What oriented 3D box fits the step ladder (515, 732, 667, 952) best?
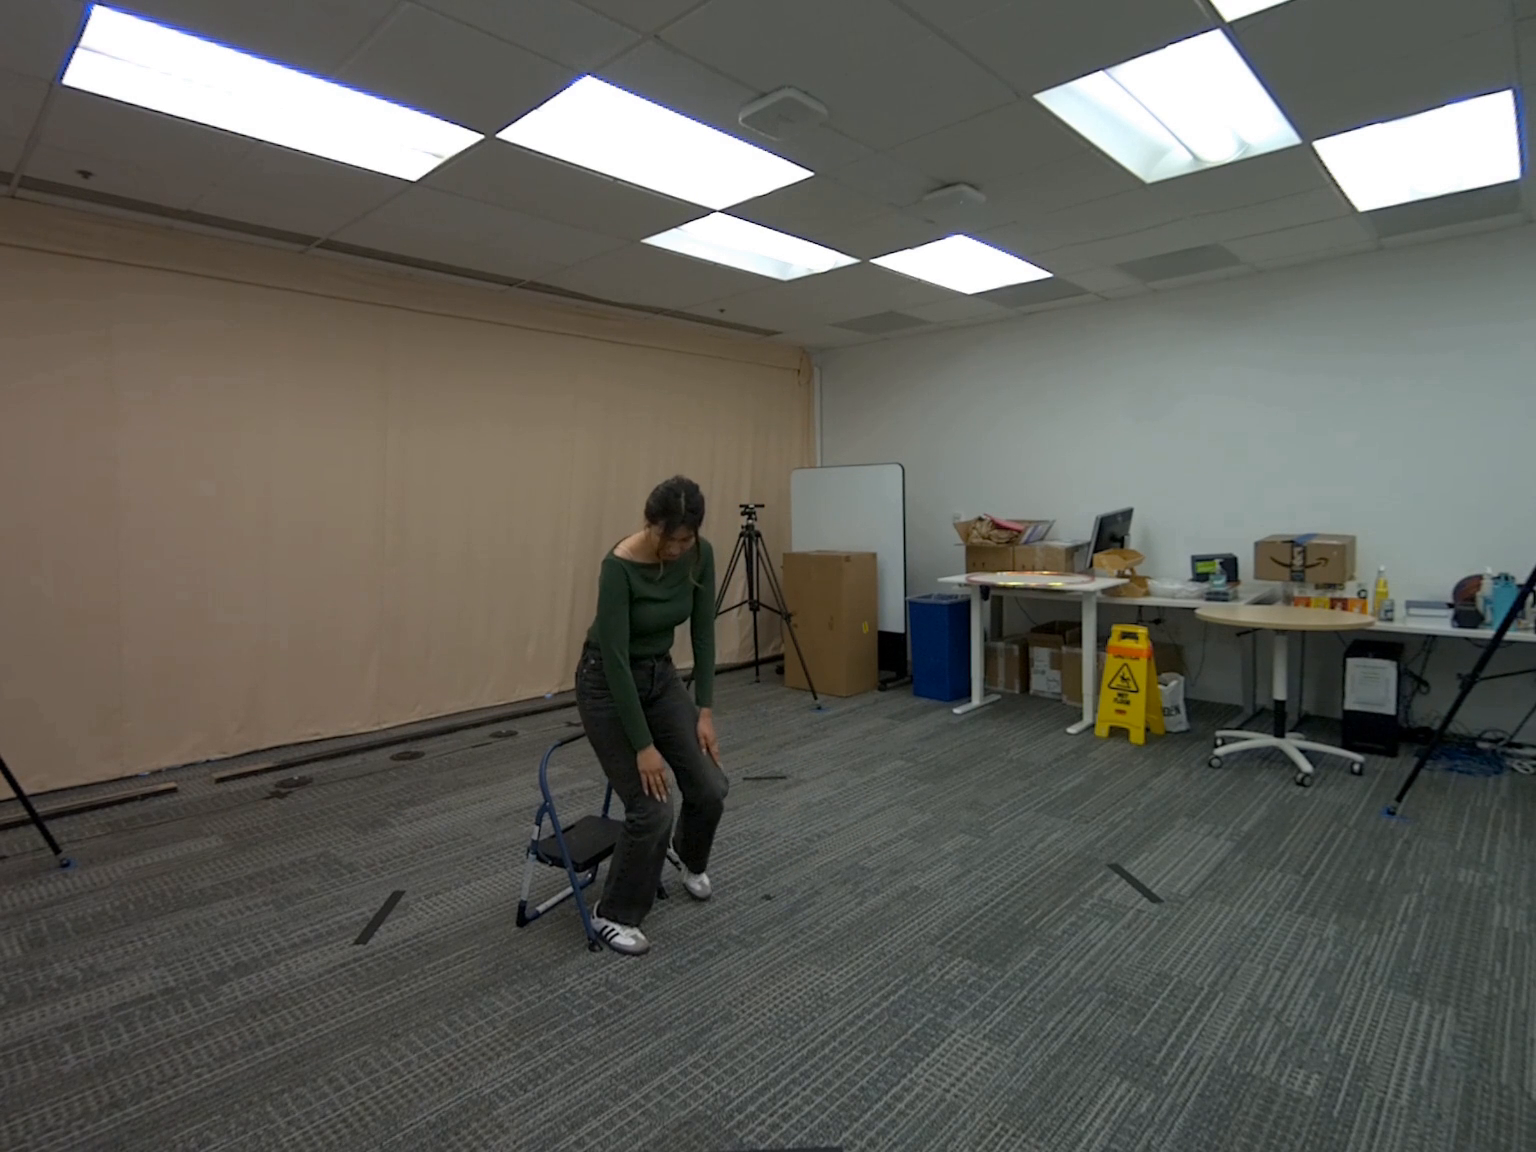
[{"bbox_3d":[-0.607,0.861,2.894,0.359,0.605,0.420,1,4,27],"label":"step ladder"}]
